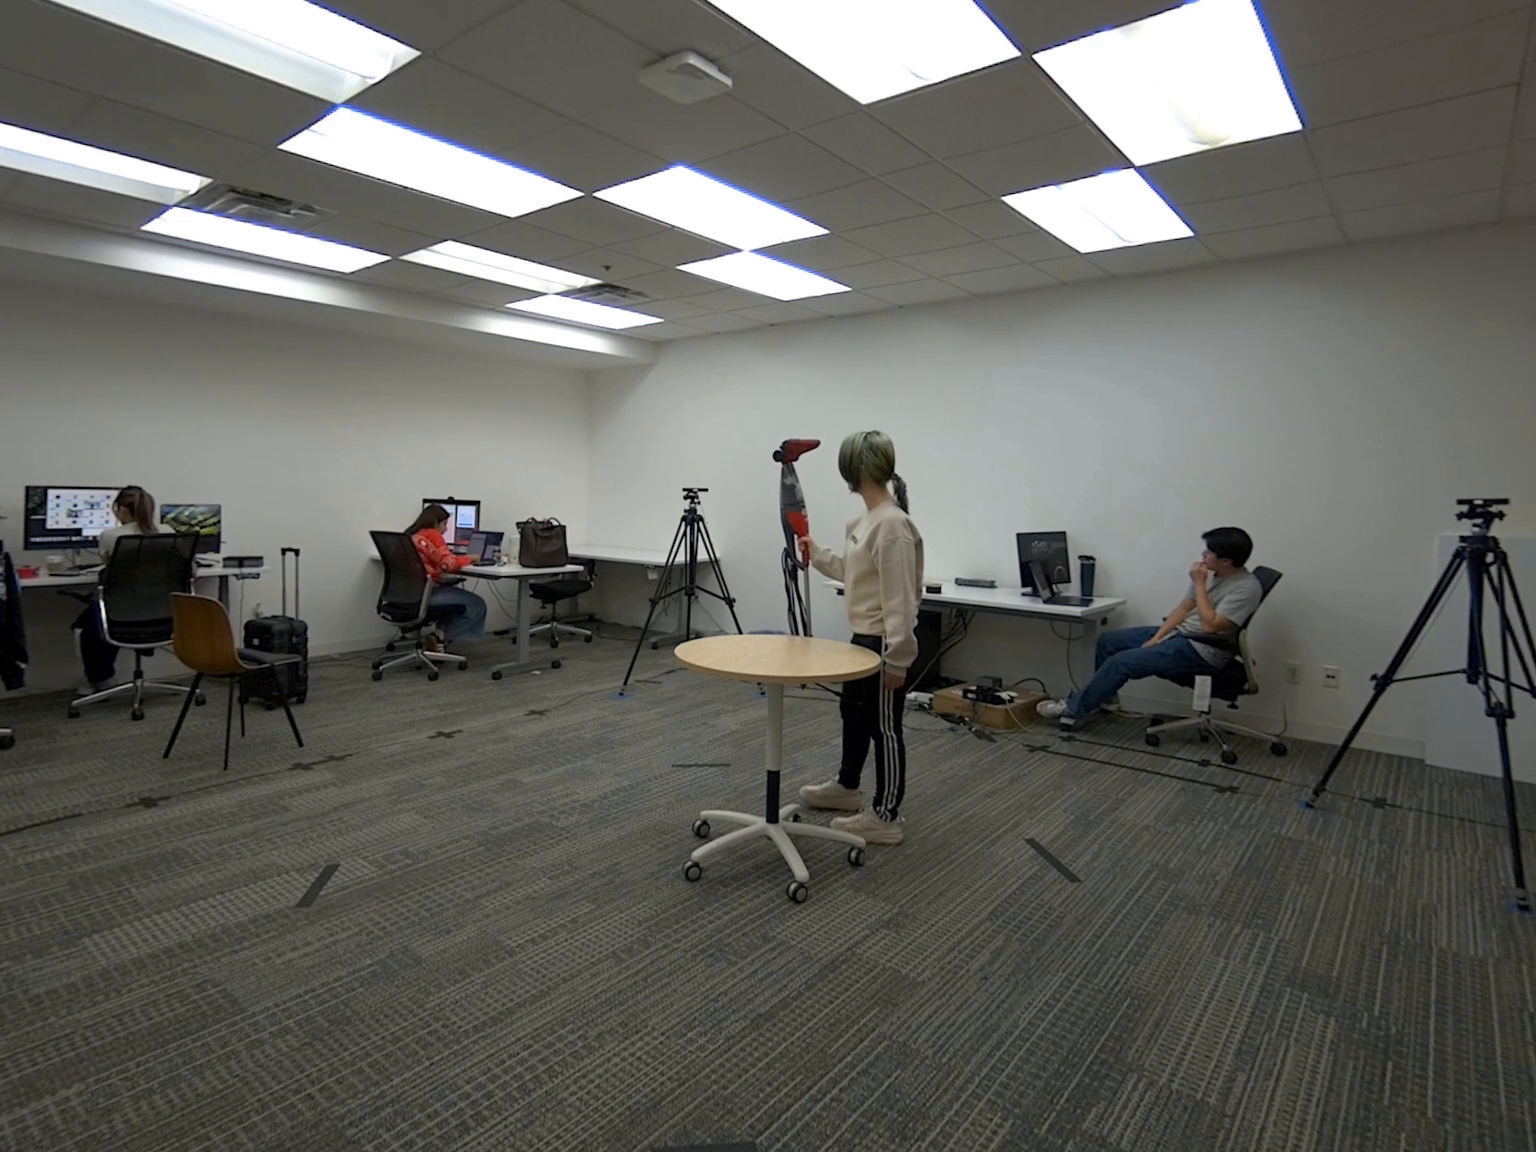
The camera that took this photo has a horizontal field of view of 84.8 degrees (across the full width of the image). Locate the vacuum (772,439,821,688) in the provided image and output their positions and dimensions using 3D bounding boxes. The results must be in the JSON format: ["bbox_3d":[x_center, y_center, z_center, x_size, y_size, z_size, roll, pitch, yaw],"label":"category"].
[{"bbox_3d":[0.114,-0.048,3.717,0.149,1.046,0.245,2,4,40],"label":"vacuum"}]
